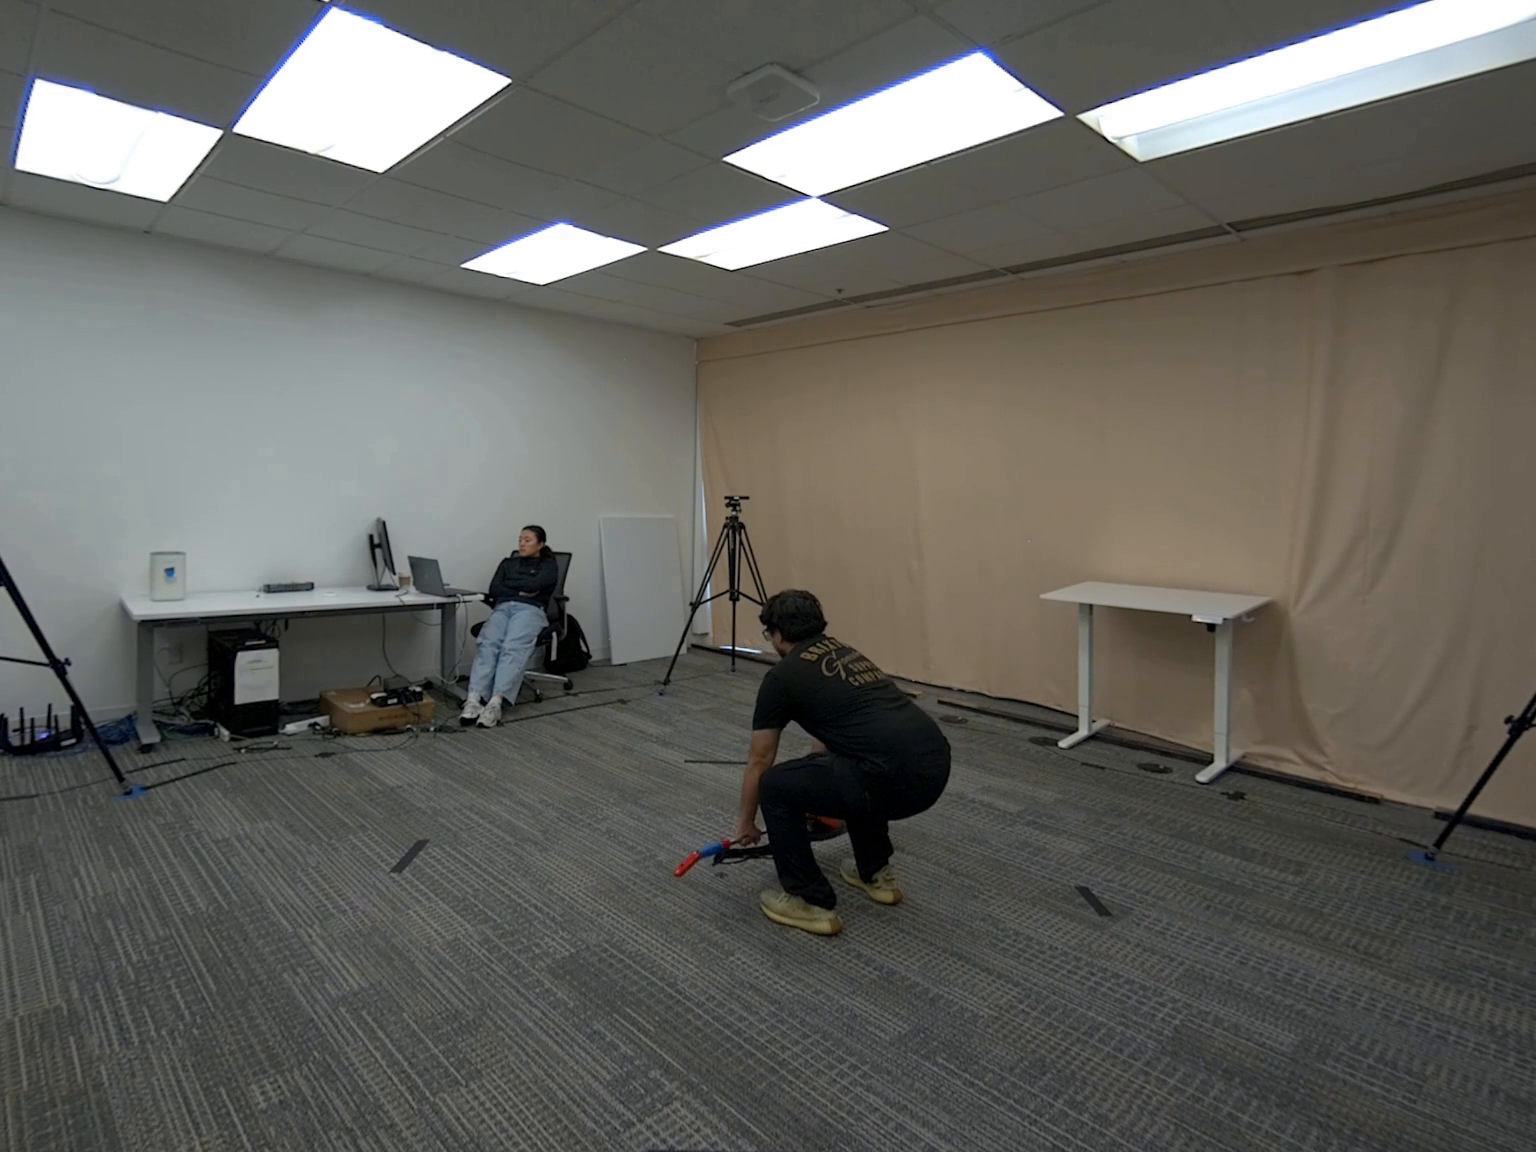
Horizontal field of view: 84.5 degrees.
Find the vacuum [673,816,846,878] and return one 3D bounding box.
[{"bbox_3d":[0.050,0.964,3.109,0.259,0.144,1.025,2,4,44],"label":"vacuum"}]
